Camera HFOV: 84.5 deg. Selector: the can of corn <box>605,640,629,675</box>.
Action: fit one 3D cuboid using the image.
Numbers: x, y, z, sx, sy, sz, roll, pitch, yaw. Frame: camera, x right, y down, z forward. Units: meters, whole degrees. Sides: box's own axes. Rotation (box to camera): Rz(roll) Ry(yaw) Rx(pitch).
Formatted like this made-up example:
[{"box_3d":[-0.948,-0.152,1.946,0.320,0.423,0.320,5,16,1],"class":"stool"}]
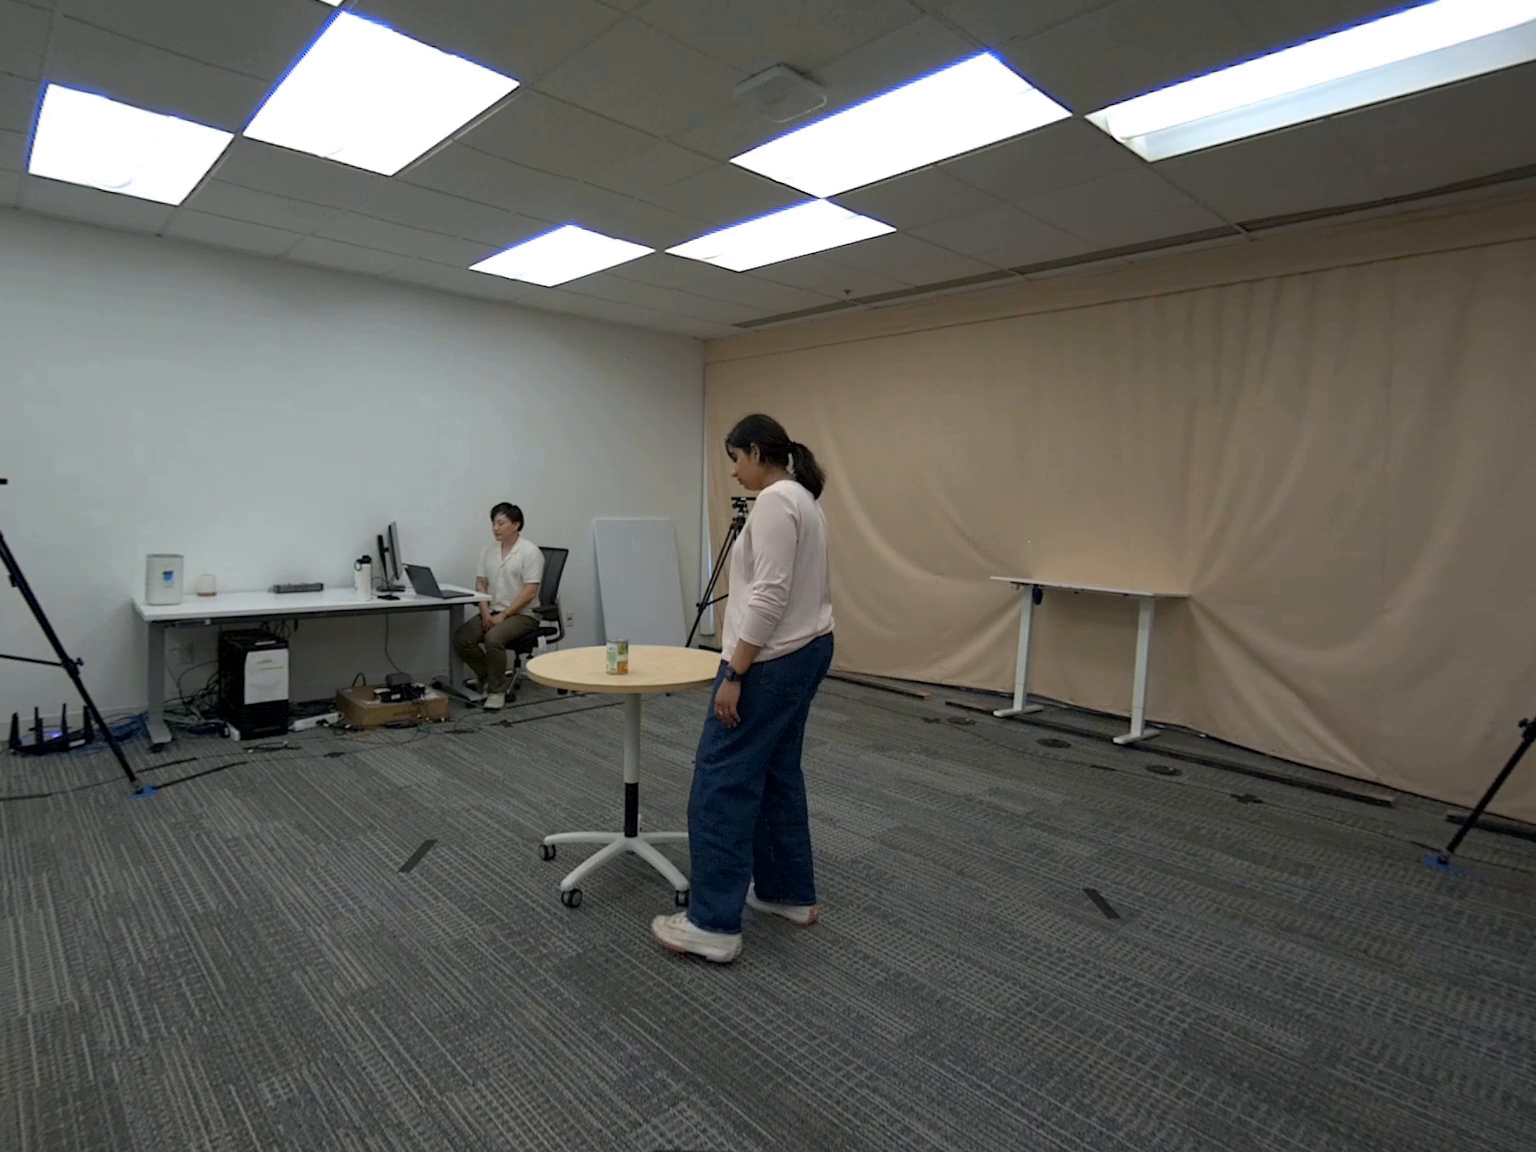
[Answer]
[{"box_3d":[-0.515,0.279,2.888,0.074,0.111,0.074,0,3,-1],"class":"can of corn"}]
